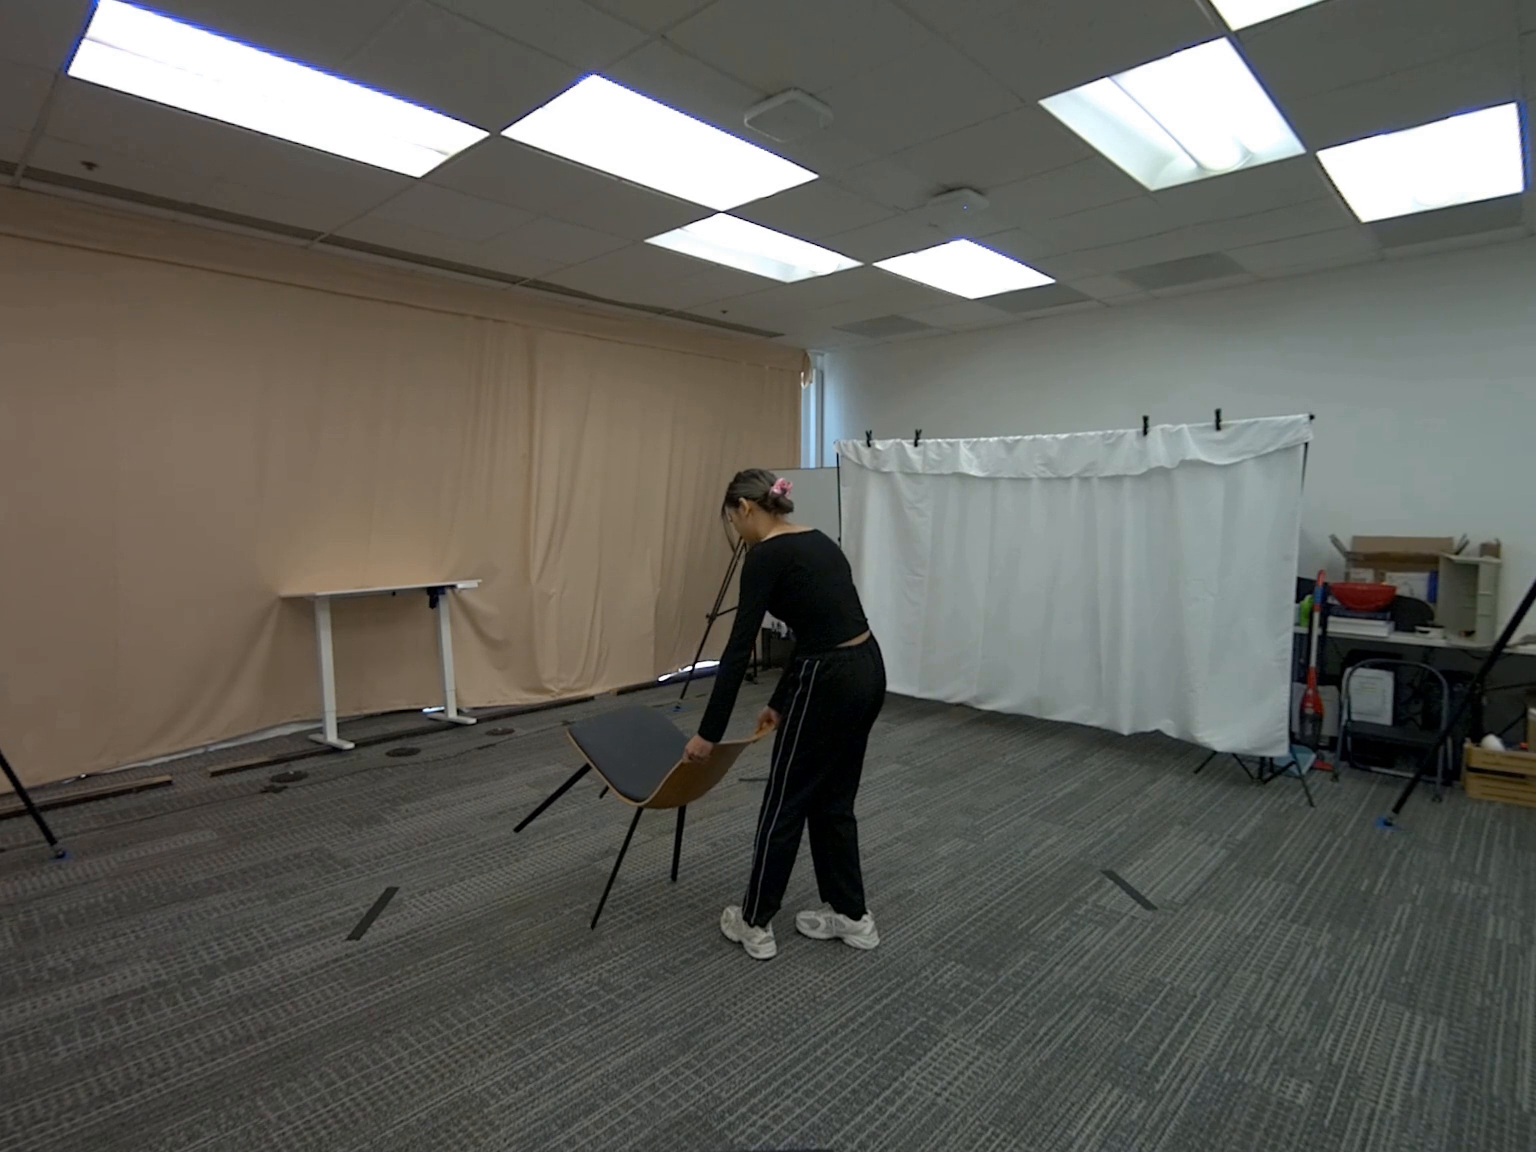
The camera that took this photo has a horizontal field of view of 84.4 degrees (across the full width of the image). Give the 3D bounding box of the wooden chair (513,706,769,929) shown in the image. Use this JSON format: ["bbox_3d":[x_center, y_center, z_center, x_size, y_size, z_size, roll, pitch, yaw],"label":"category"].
[{"bbox_3d":[-0.420,0.661,2.903,0.538,0.878,0.464,45,26,24],"label":"wooden chair"}]
